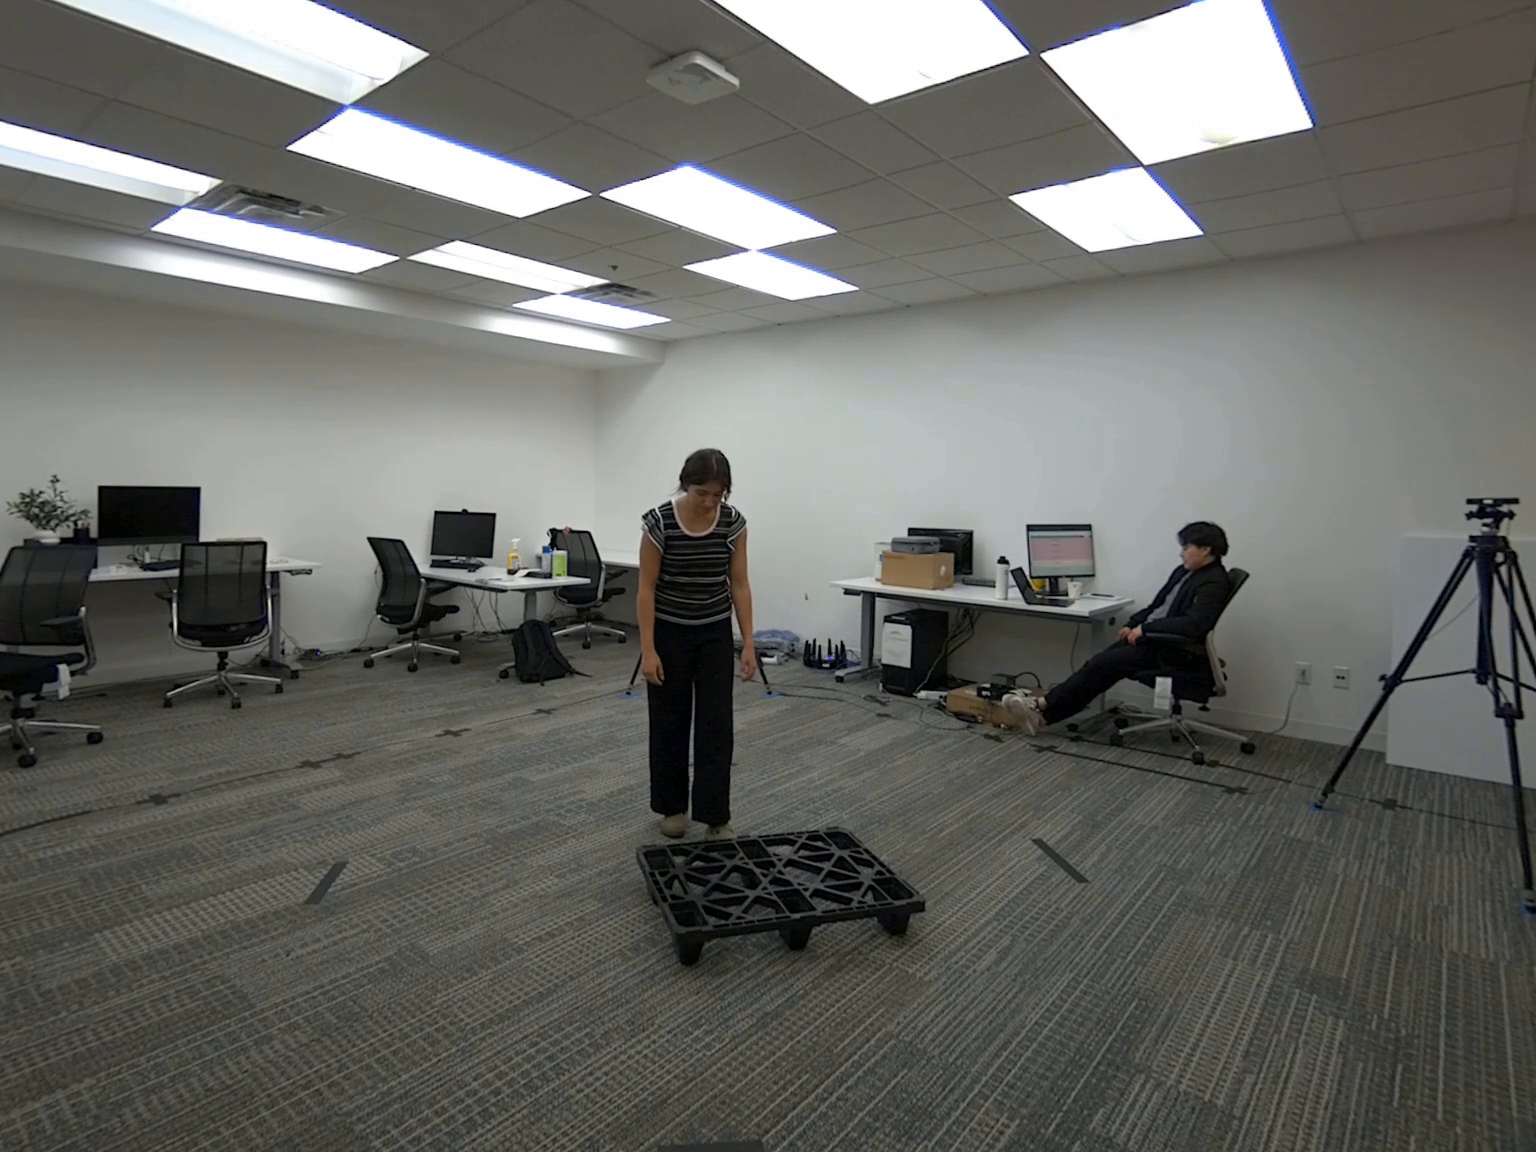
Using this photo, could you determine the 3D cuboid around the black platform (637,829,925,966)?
[{"bbox_3d":[0.007,1.034,2.793,0.791,0.142,0.619,-1,7,-18],"label":"black platform"}]
